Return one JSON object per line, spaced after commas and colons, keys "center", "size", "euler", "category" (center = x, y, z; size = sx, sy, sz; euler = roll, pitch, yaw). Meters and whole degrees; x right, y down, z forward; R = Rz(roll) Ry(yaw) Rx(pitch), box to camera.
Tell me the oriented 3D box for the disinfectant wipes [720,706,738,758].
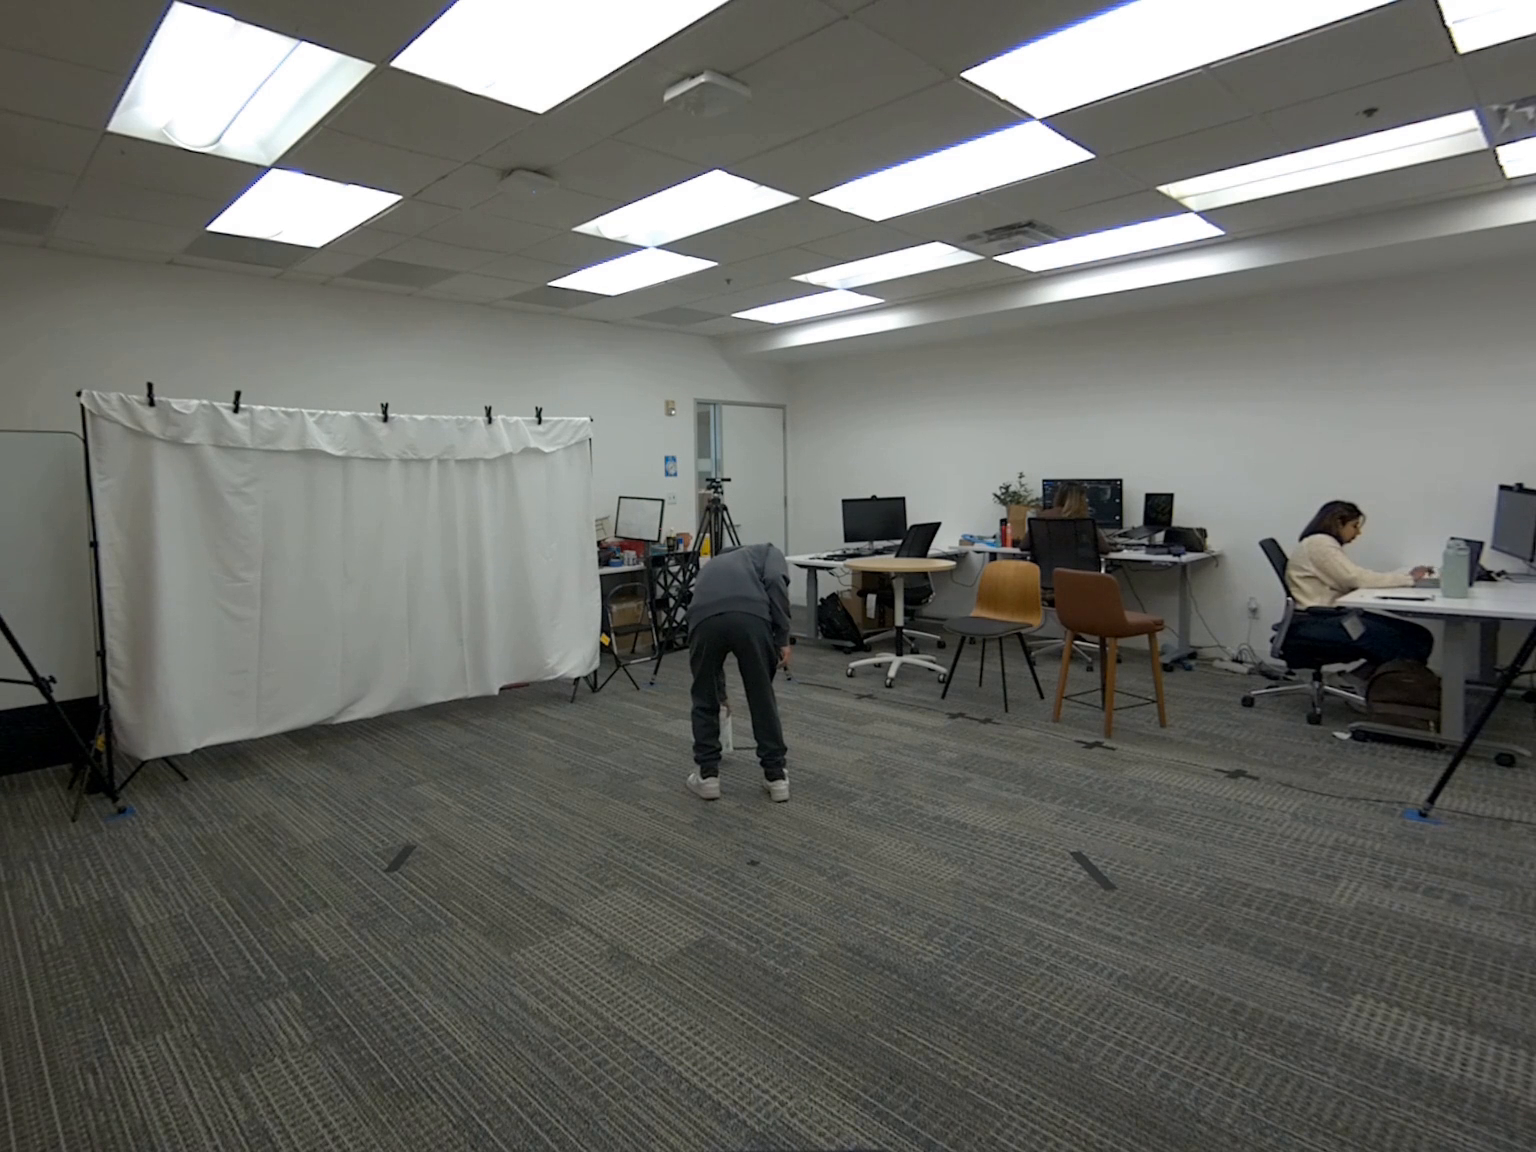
{"center": [-0.220, 0.767, 4.219], "size": [0.118, 0.217, 0.118], "euler": [-3, 2, -2], "category": "disinfectant wipes"}
